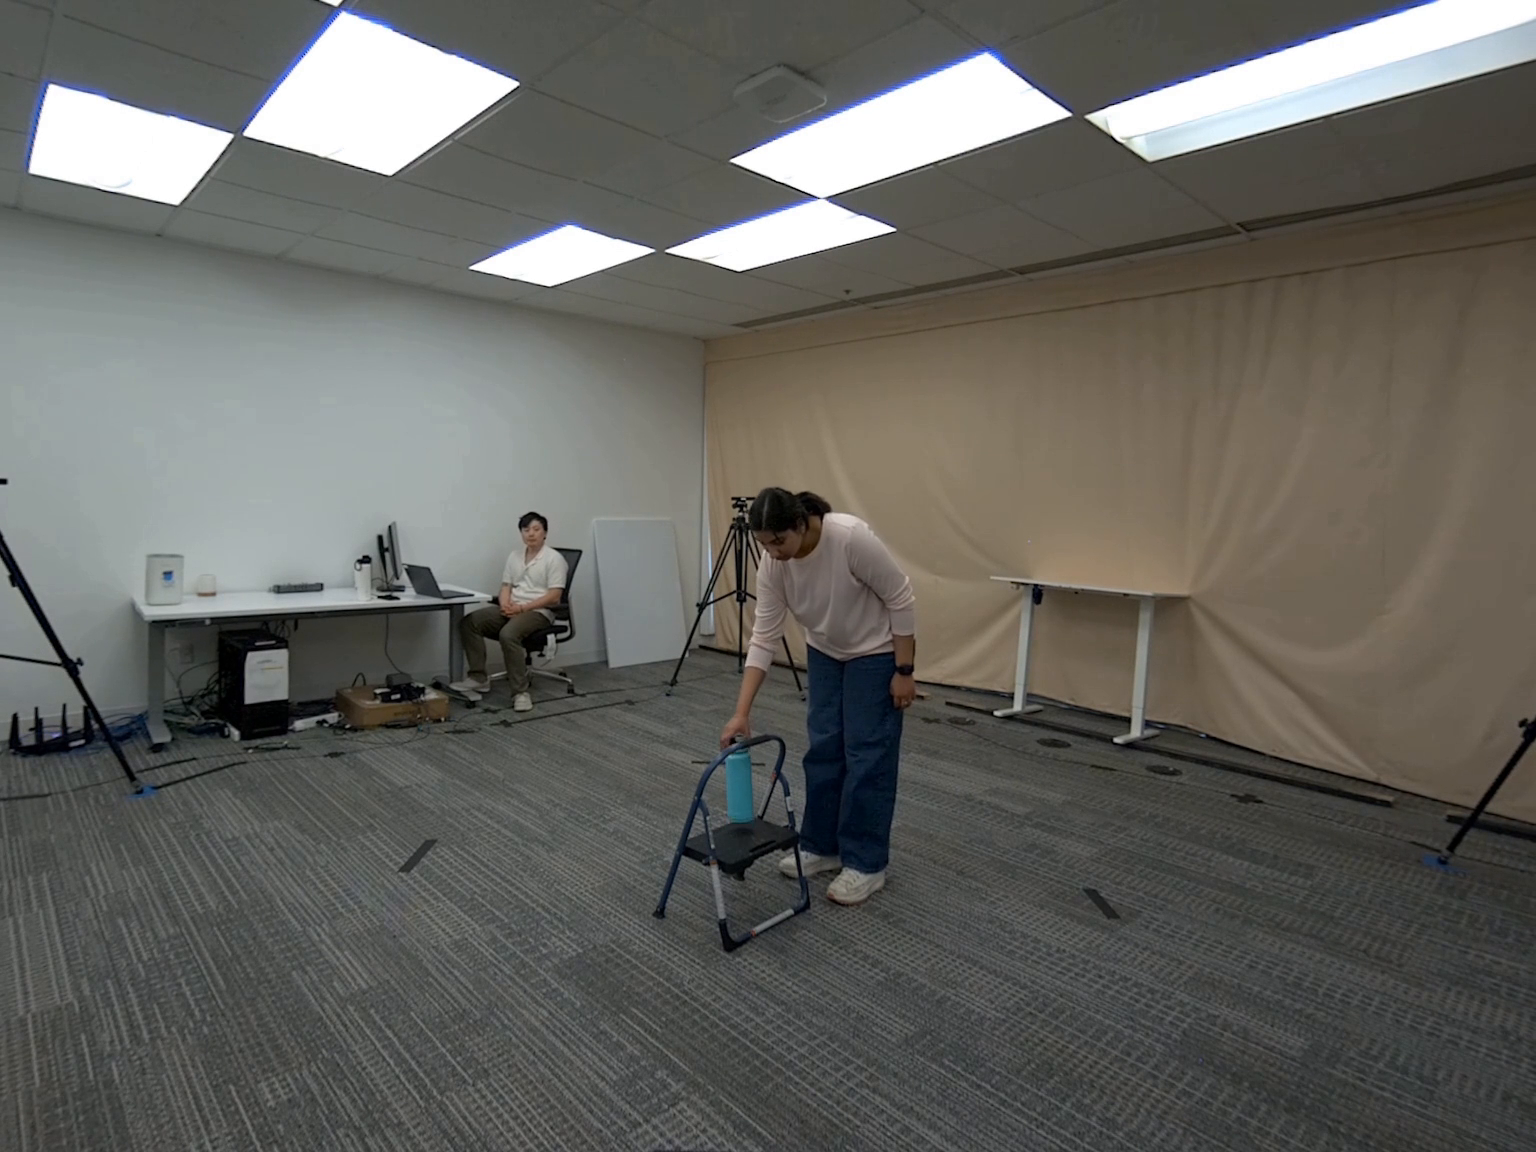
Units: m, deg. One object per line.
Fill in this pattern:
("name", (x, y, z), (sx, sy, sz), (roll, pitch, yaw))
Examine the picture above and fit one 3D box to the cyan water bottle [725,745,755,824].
("cyan water bottle", (-0.102, 0.686, 2.877), (0.092, 0.283, 0.092), (-3, -1, -1))
